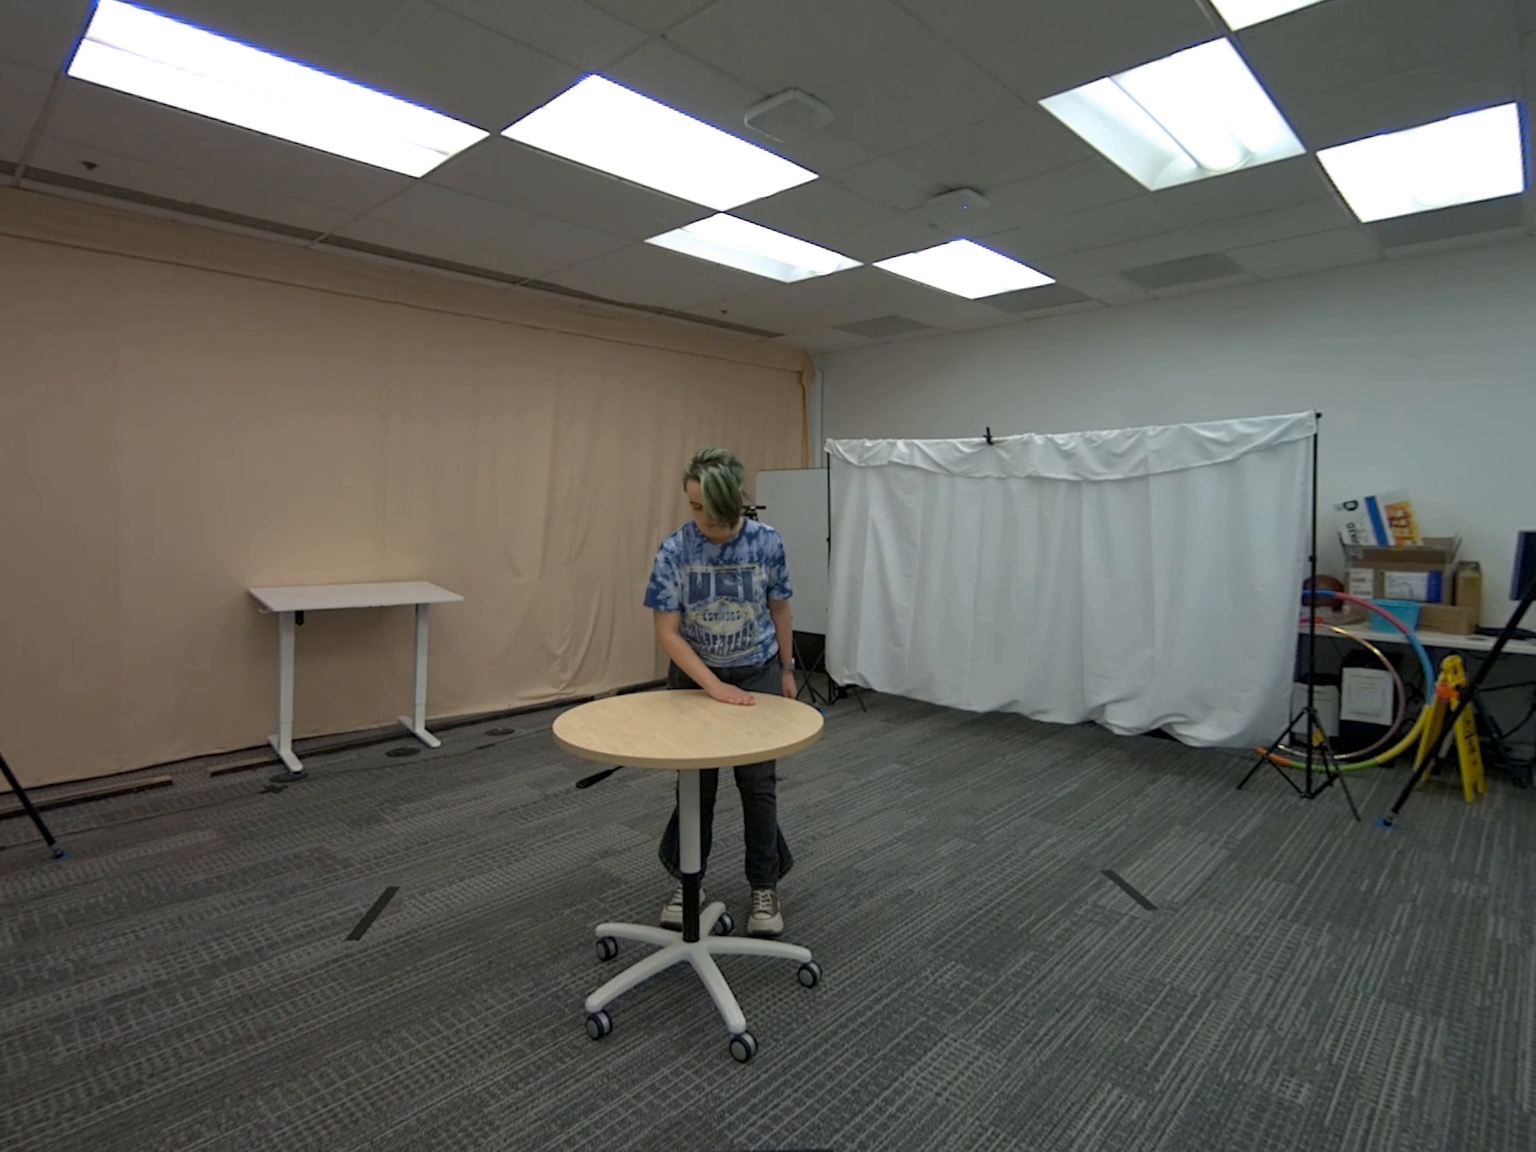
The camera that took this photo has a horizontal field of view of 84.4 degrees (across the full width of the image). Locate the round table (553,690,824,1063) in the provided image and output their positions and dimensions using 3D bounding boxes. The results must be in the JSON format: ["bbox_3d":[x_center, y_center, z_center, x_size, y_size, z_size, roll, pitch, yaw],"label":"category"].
[{"bbox_3d":[-0.231,0.796,2.434,0.784,0.785,0.788,0,4,-2],"label":"round table"}]
